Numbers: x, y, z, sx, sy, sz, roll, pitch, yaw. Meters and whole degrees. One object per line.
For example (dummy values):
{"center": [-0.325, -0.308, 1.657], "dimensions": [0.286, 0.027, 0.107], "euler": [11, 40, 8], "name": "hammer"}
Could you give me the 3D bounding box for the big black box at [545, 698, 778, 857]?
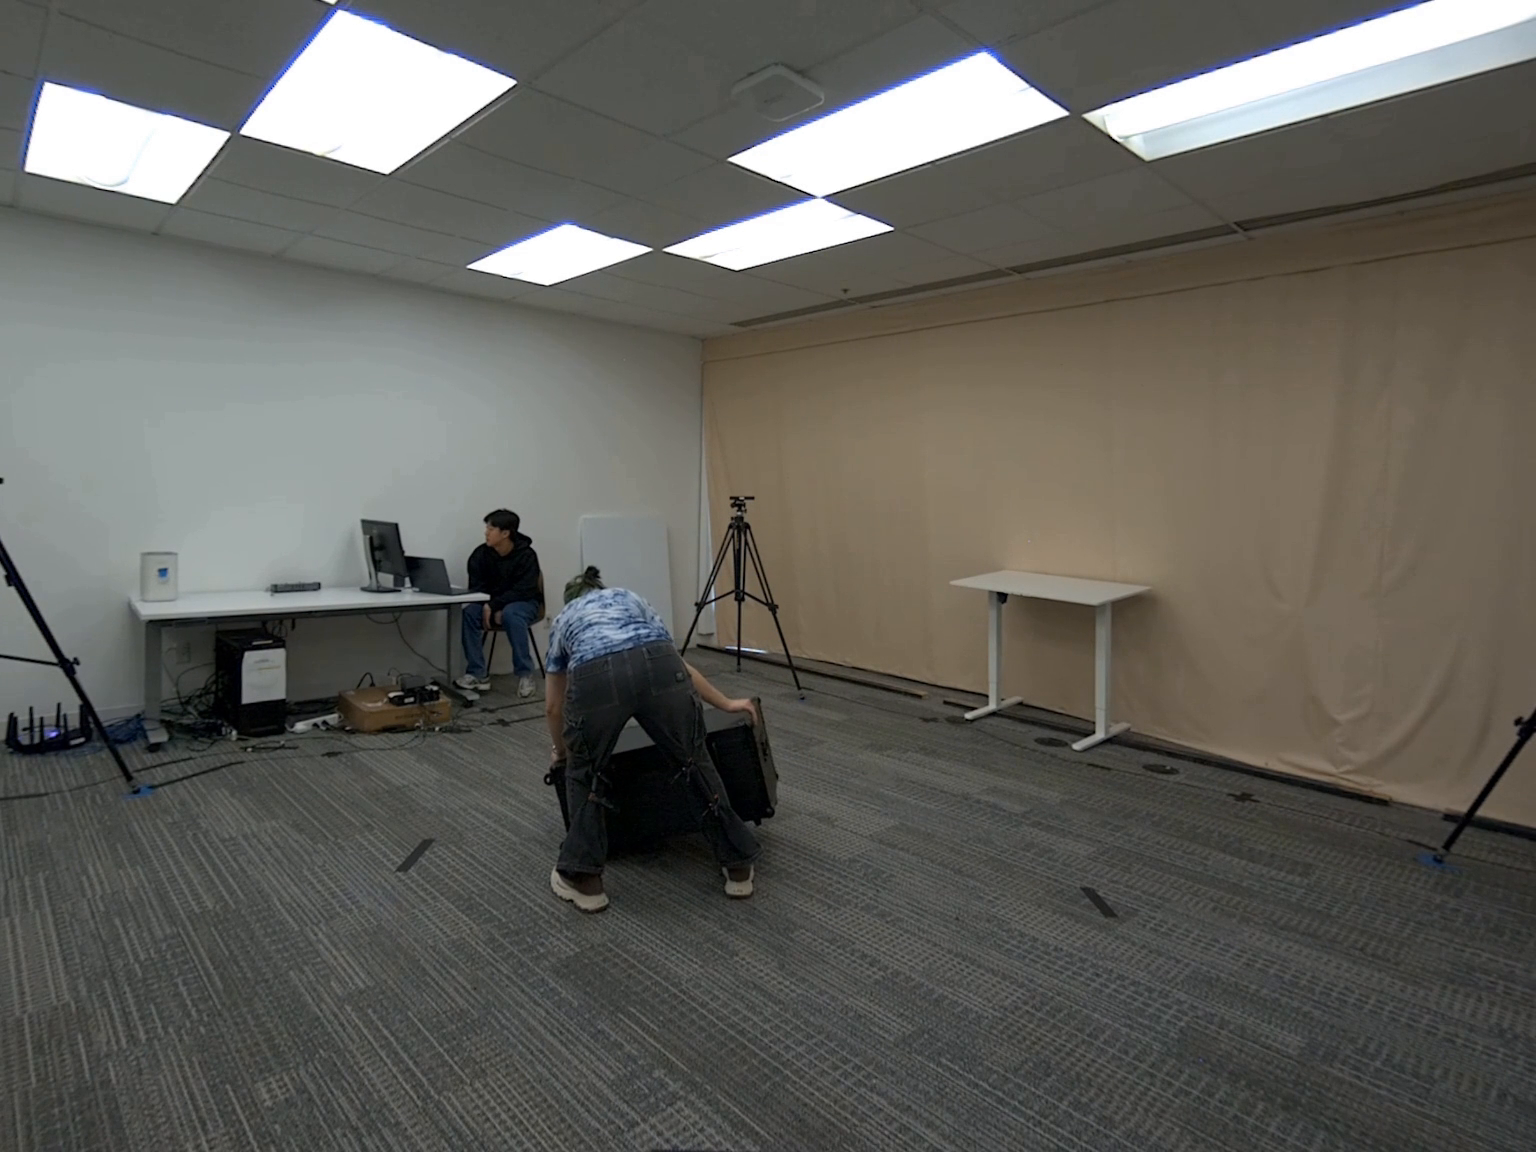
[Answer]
{"center": [-0.376, 0.789, 3.375], "dimensions": [0.864, 0.396, 0.520], "euler": [-13, 2, 5], "name": "big black box"}
